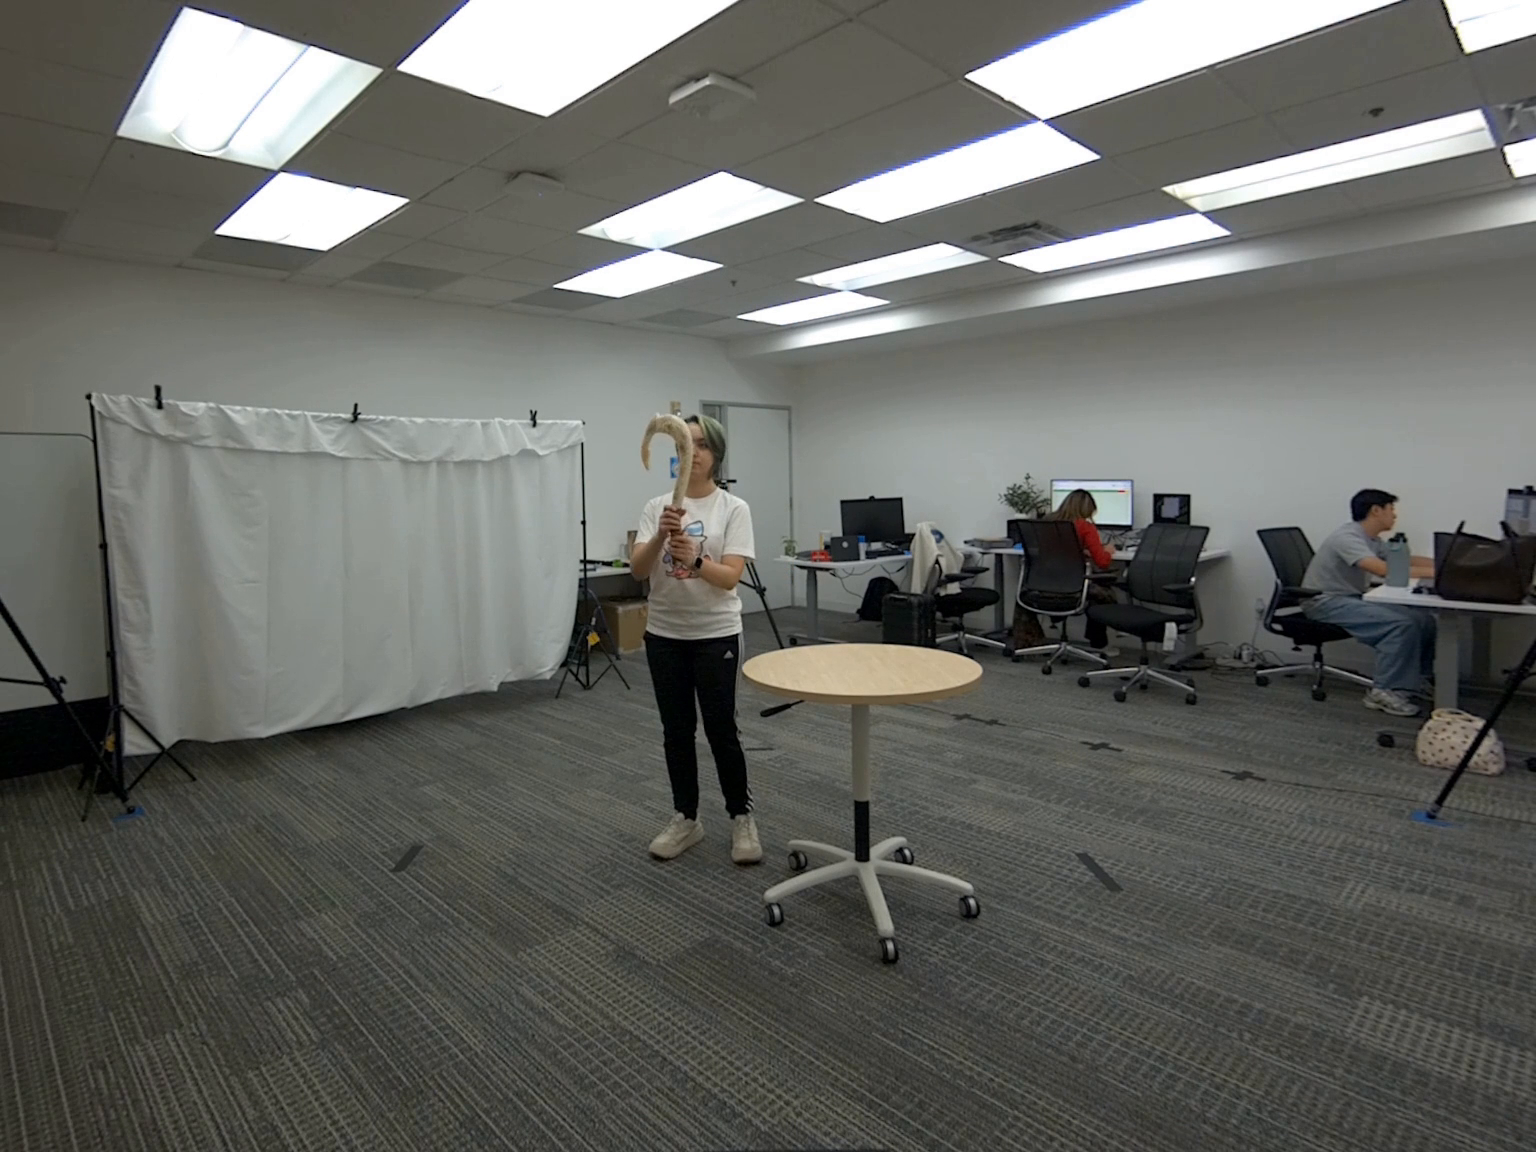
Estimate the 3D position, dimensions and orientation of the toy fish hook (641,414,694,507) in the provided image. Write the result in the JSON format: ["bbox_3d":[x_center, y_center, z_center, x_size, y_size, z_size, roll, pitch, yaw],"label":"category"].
[{"bbox_3d":[-0.348,-0.286,2.881,0.232,0.501,0.047,13,16,39],"label":"toy fish hook"}]
